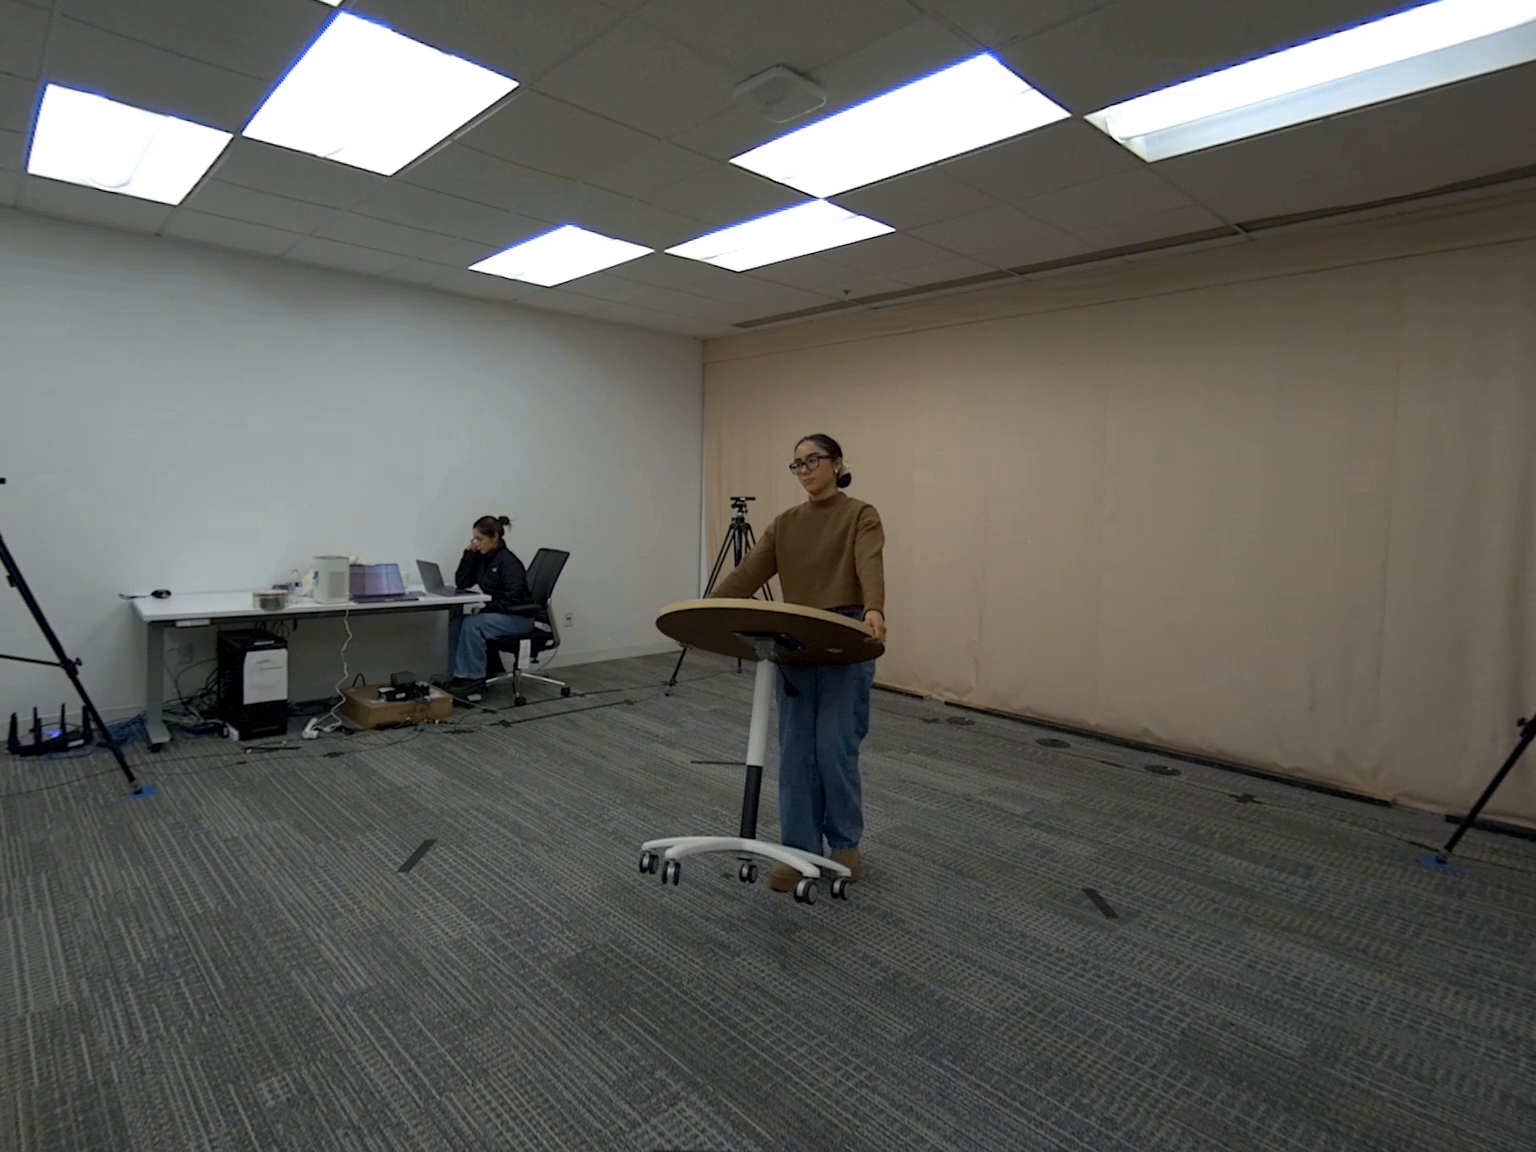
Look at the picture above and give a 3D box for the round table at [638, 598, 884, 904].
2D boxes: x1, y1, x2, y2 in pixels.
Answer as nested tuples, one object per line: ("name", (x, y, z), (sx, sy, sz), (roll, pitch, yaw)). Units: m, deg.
("round table", (-0.037, 0.570, 2.669), (0.786, 0.796, 0.775), (6, -18, 1))
